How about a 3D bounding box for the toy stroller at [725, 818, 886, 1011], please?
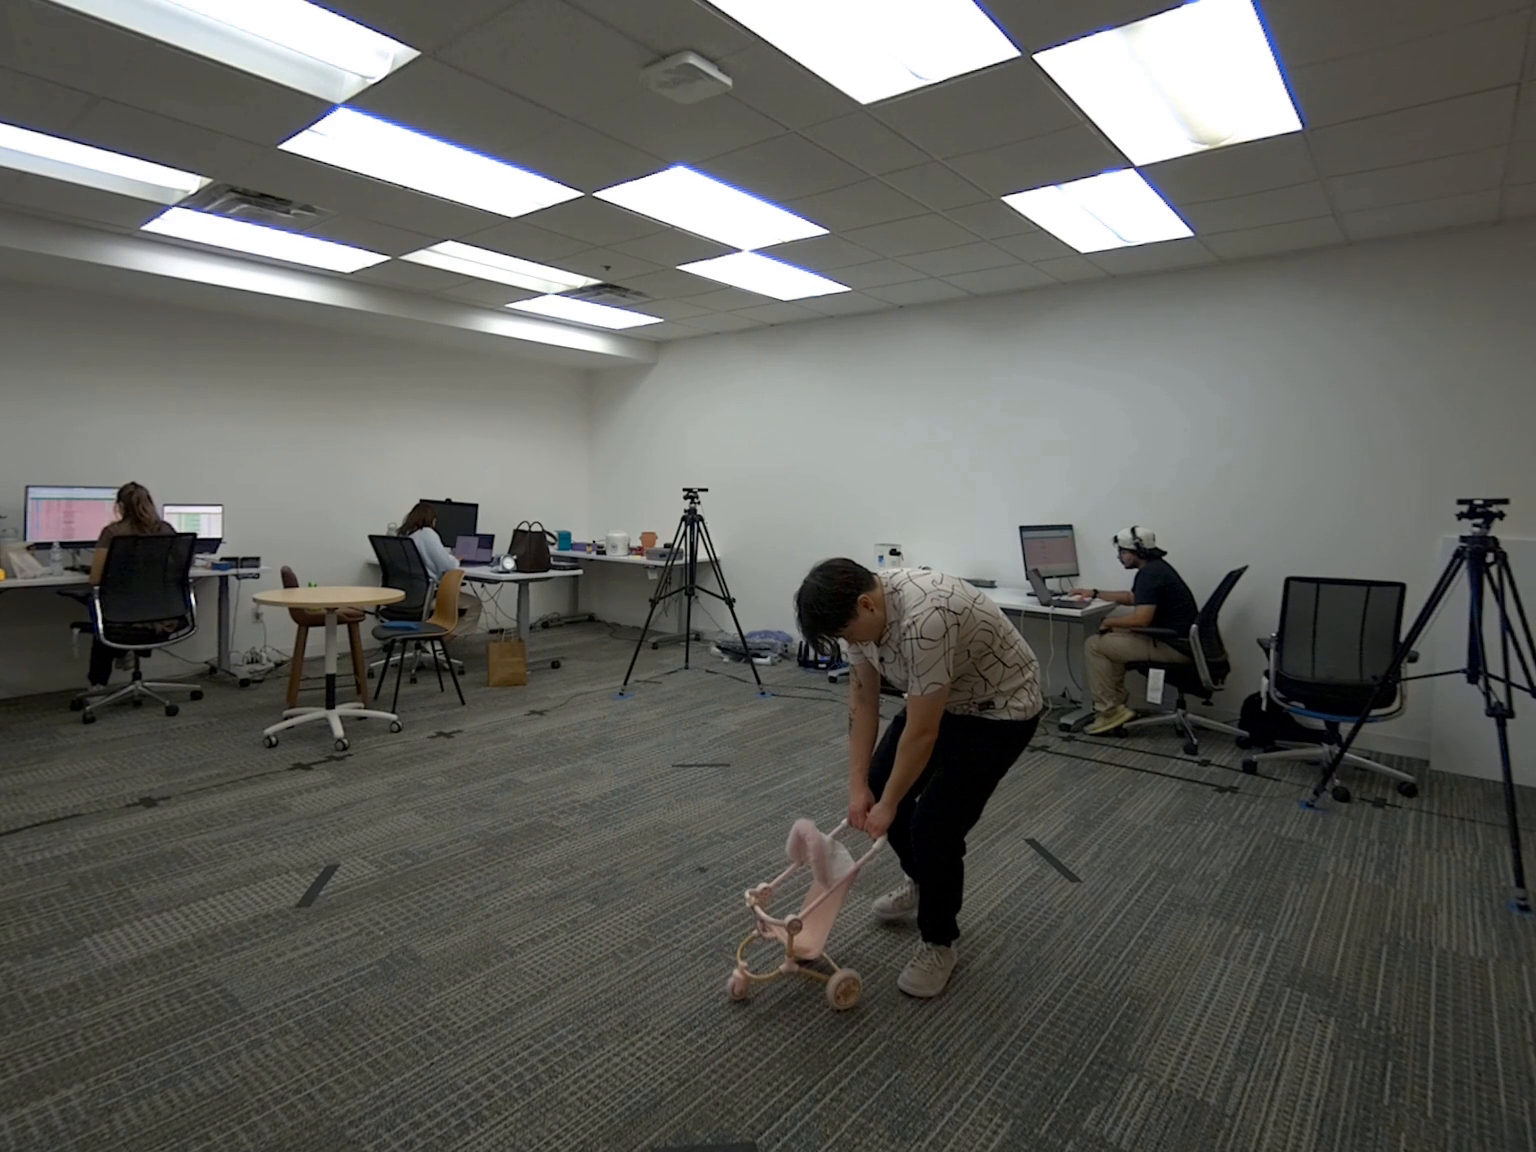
[{"bbox_3d":[0.084,0.923,2.368,0.334,0.535,0.287,16,-1,-18],"label":"toy stroller"}]
